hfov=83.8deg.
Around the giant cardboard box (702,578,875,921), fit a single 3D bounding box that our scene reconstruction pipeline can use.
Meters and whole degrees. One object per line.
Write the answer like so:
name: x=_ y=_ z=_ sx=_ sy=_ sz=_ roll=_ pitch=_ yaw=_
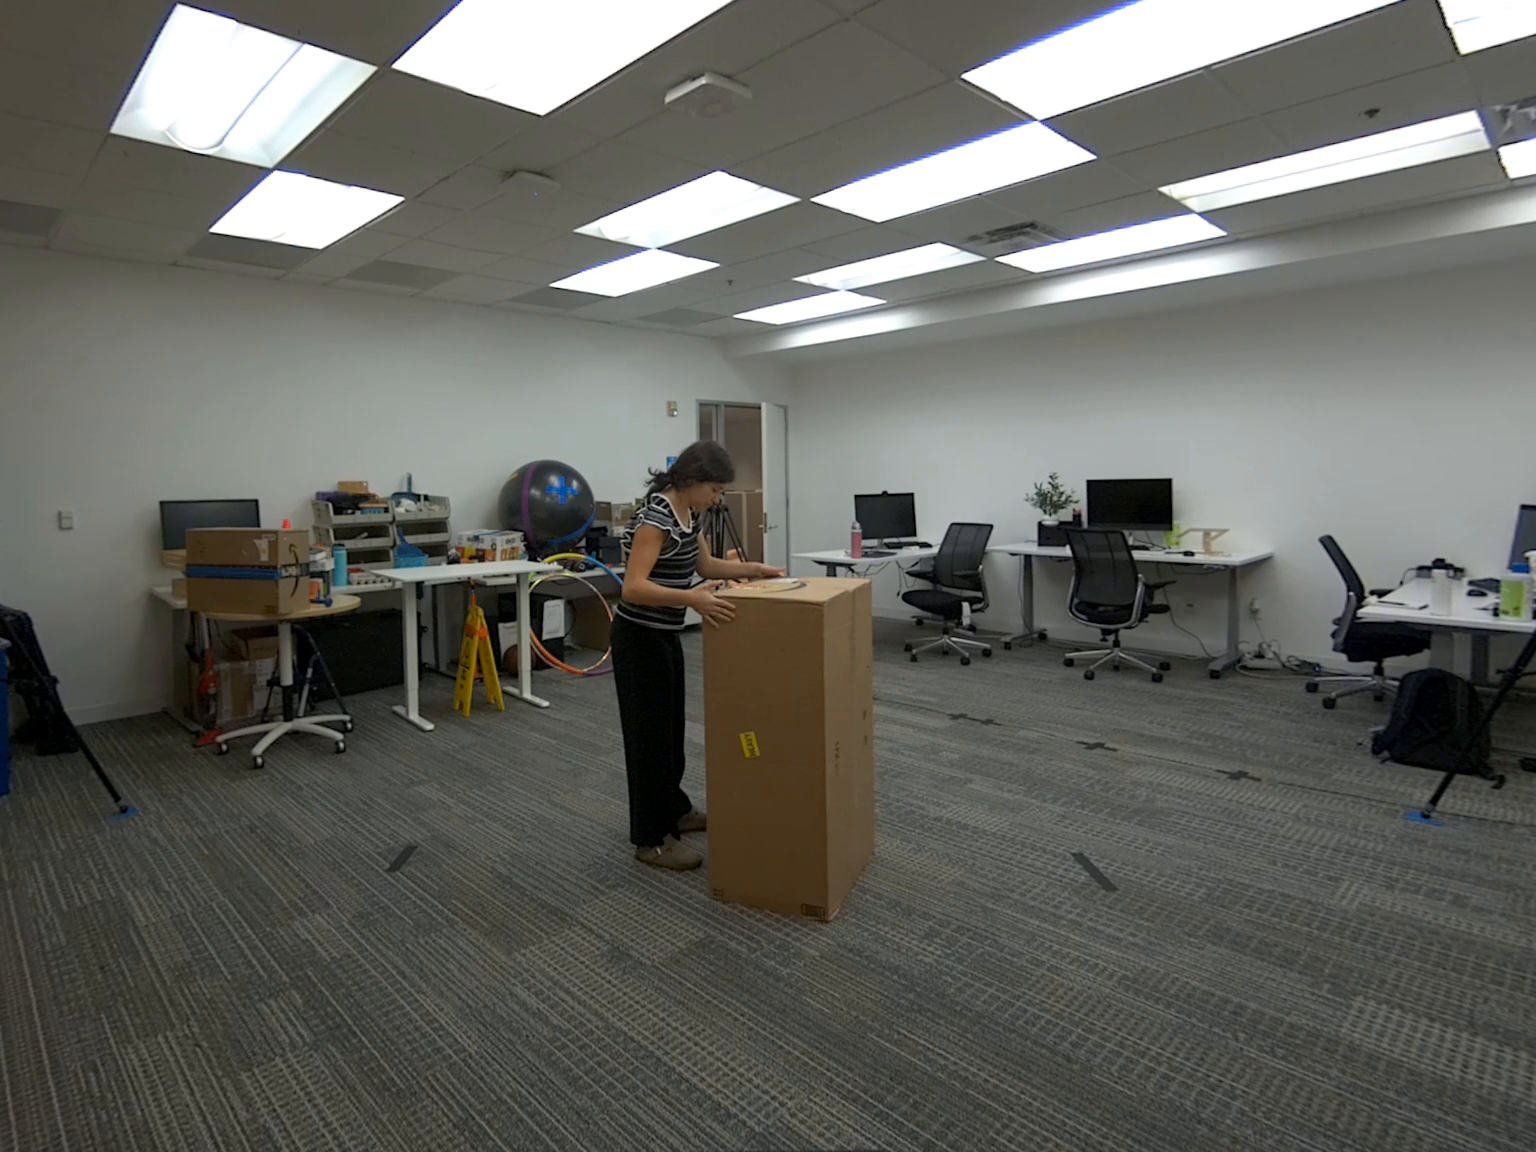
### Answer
giant cardboard box: x=0.094 y=0.548 z=2.989 sx=0.435 sy=1.021 sz=0.567 roll=1 pitch=5 yaw=23
